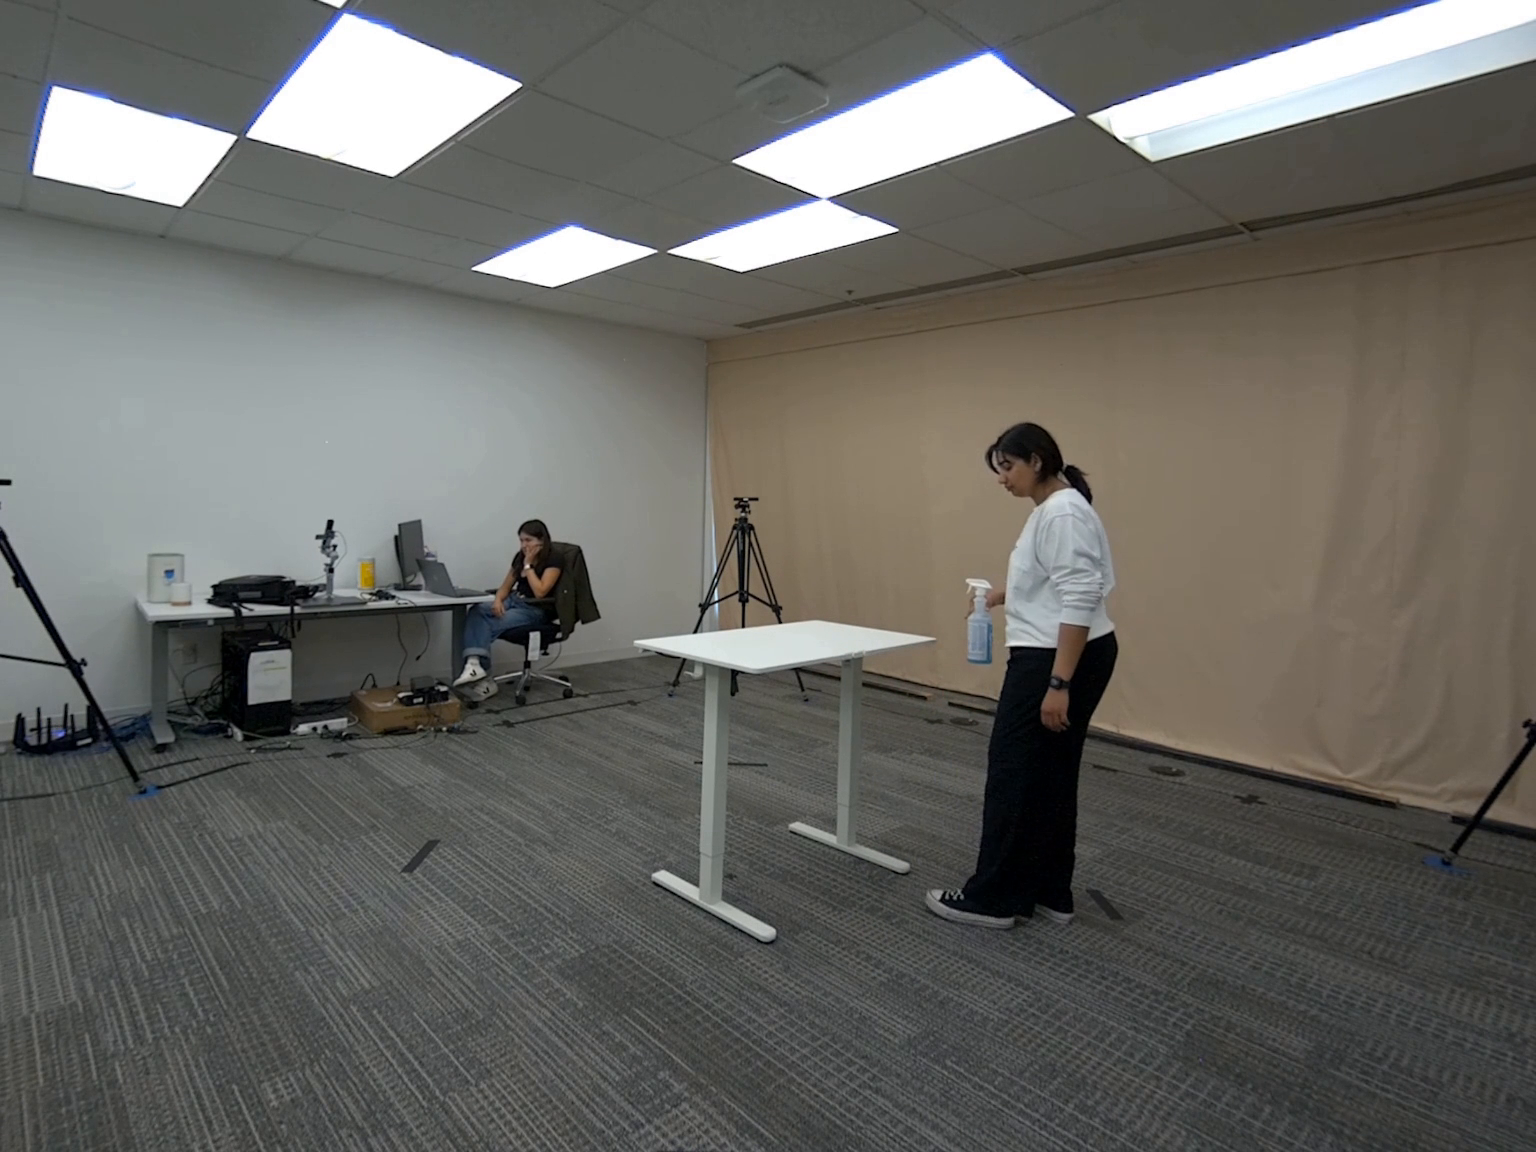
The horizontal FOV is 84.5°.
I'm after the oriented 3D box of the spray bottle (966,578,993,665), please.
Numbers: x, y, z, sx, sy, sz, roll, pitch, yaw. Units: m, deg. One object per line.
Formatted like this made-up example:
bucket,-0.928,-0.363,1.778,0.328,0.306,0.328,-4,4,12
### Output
spray bottle,0.747,0.158,2.992,0.085,0.296,0.092,-2,5,-27
